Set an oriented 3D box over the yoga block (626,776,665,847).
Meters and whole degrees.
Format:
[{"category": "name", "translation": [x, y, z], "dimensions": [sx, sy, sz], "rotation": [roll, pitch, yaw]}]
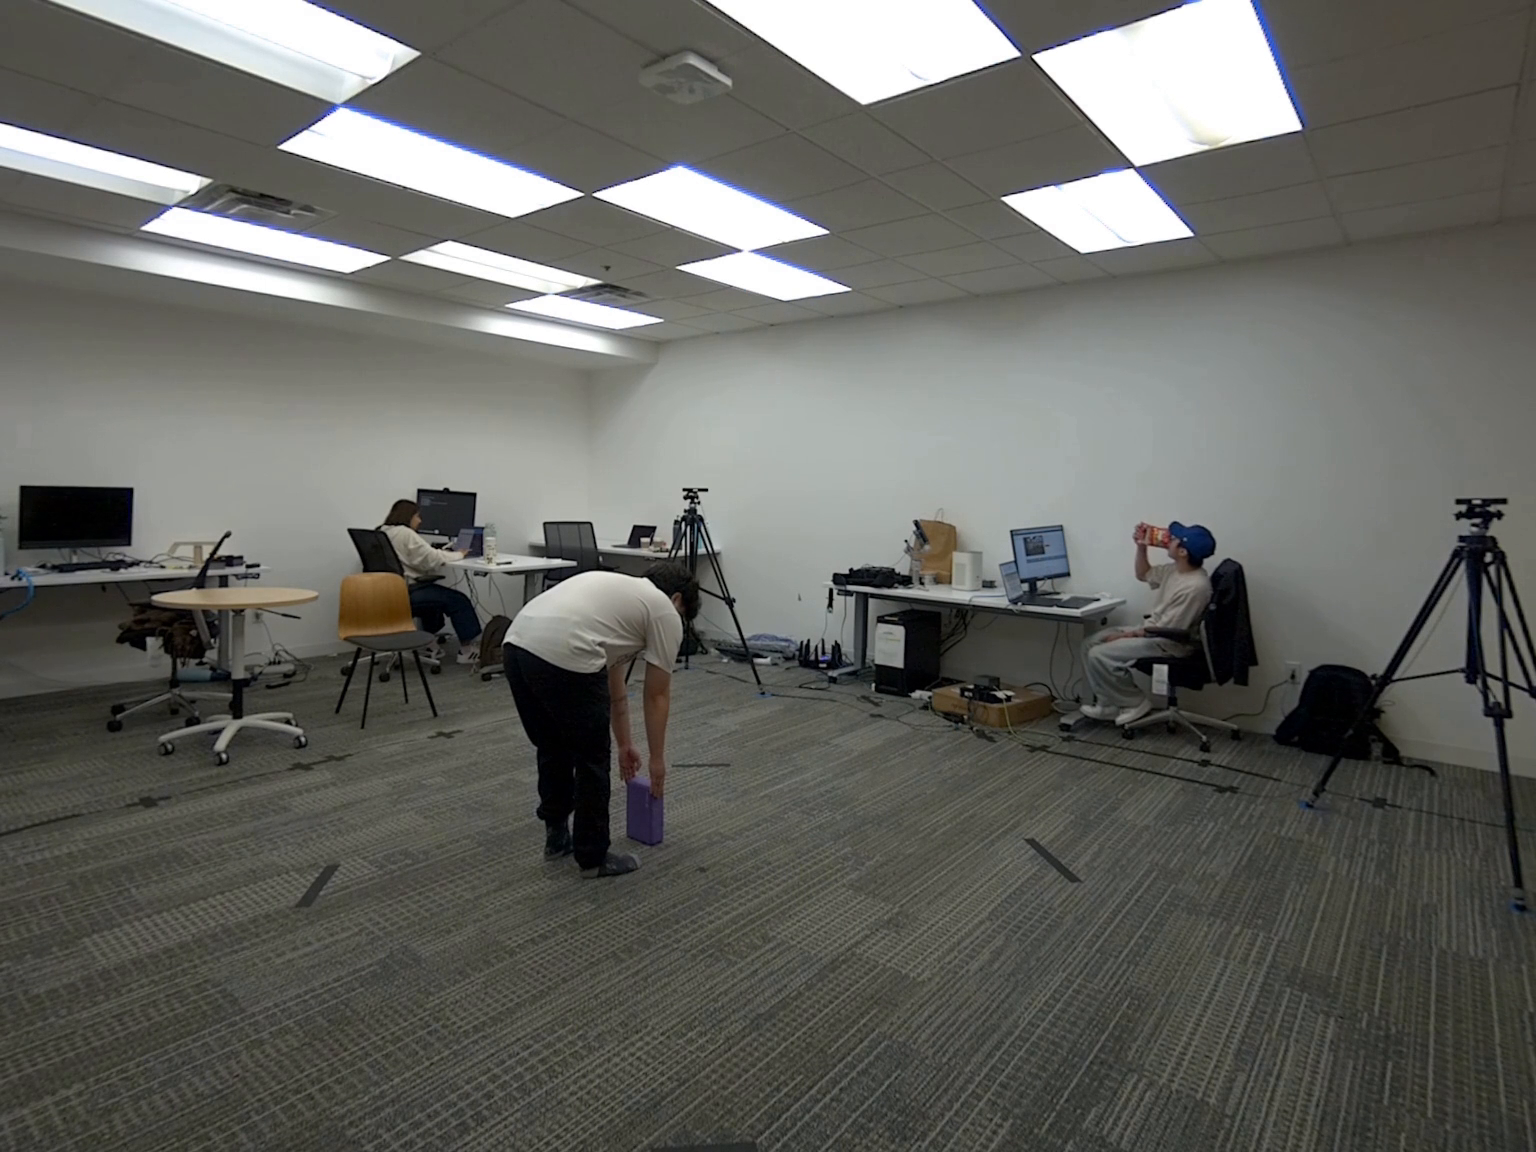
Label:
[{"category": "yoga block", "translation": [-0.504, 0.929, 3.368], "dimensions": [0.154, 0.228, 0.074], "rotation": [1, 5, 39]}]
